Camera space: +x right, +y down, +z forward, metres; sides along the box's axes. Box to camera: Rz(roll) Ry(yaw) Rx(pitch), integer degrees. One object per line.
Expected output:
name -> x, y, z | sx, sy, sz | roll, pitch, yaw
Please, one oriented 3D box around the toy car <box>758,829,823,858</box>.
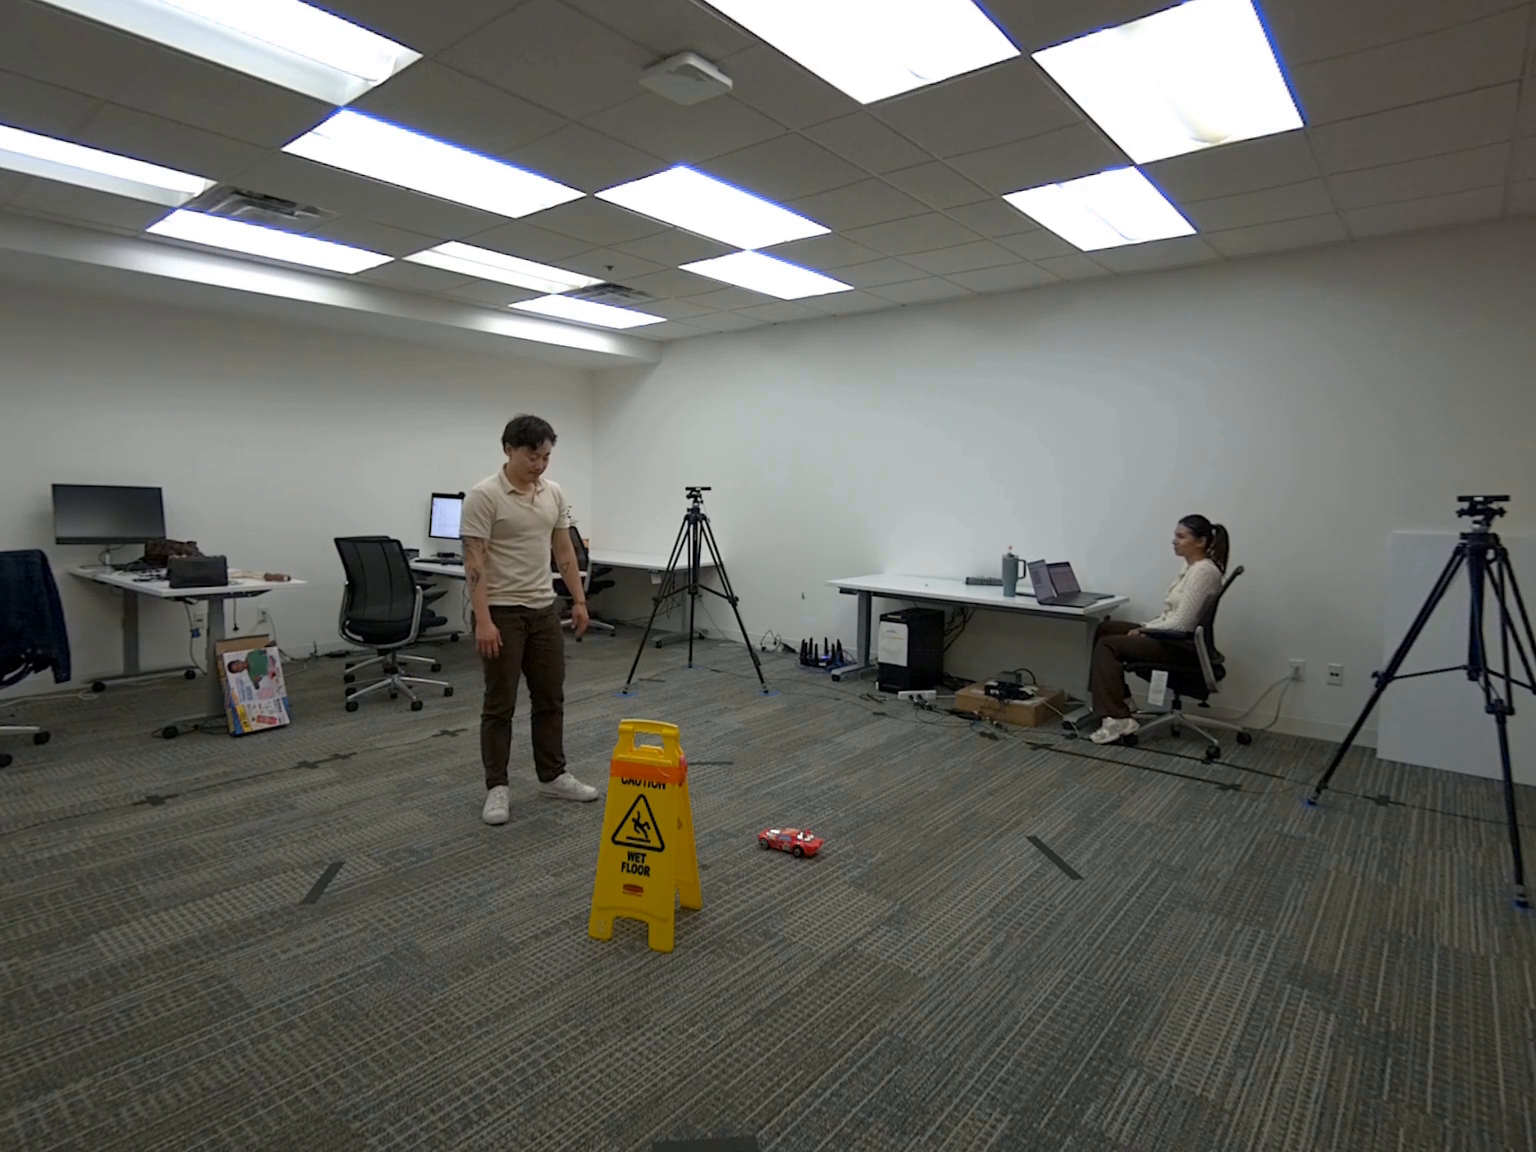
toy car -> 0.086, 1.022, 3.280 | 0.260, 0.083, 0.127 | -8, -1, 30
